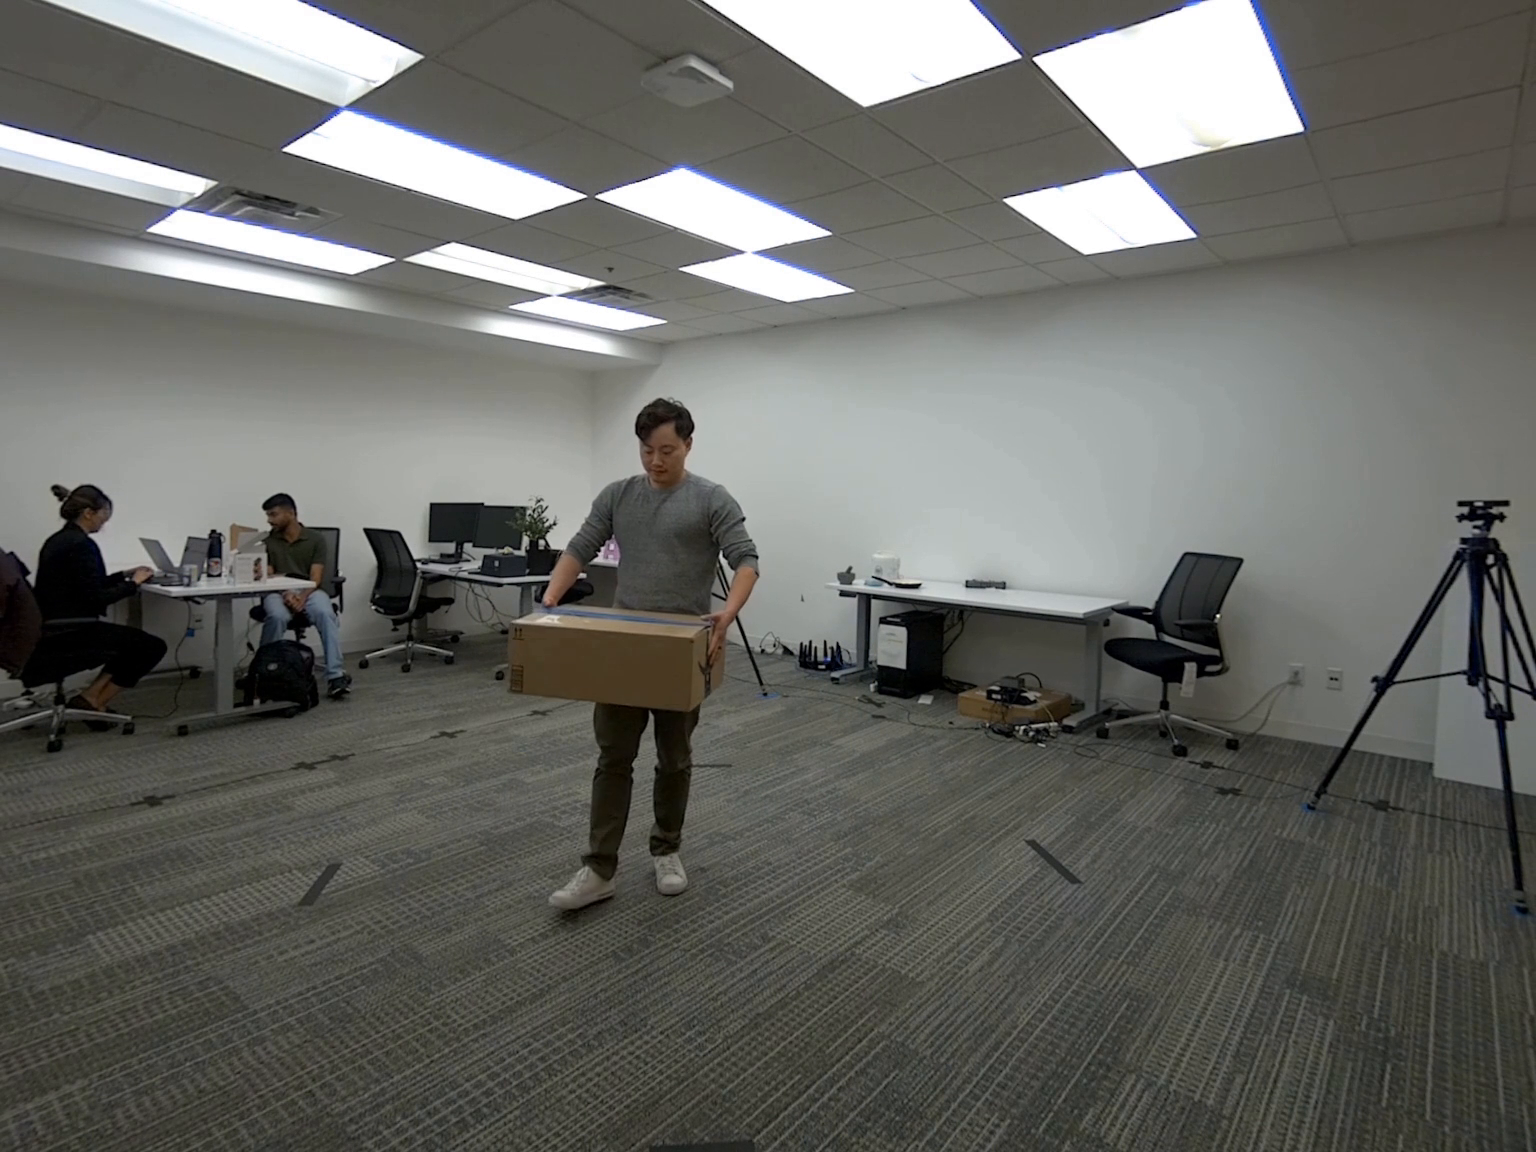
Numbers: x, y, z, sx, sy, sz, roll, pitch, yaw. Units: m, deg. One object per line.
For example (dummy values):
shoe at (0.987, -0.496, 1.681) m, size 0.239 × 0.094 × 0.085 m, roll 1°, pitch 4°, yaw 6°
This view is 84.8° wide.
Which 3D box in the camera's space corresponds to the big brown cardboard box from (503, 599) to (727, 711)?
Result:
big brown cardboard box at (-0.464, 0.230, 2.644) m, size 0.597 × 0.232 × 0.414 m, roll 3°, pitch 5°, yaw 11°
